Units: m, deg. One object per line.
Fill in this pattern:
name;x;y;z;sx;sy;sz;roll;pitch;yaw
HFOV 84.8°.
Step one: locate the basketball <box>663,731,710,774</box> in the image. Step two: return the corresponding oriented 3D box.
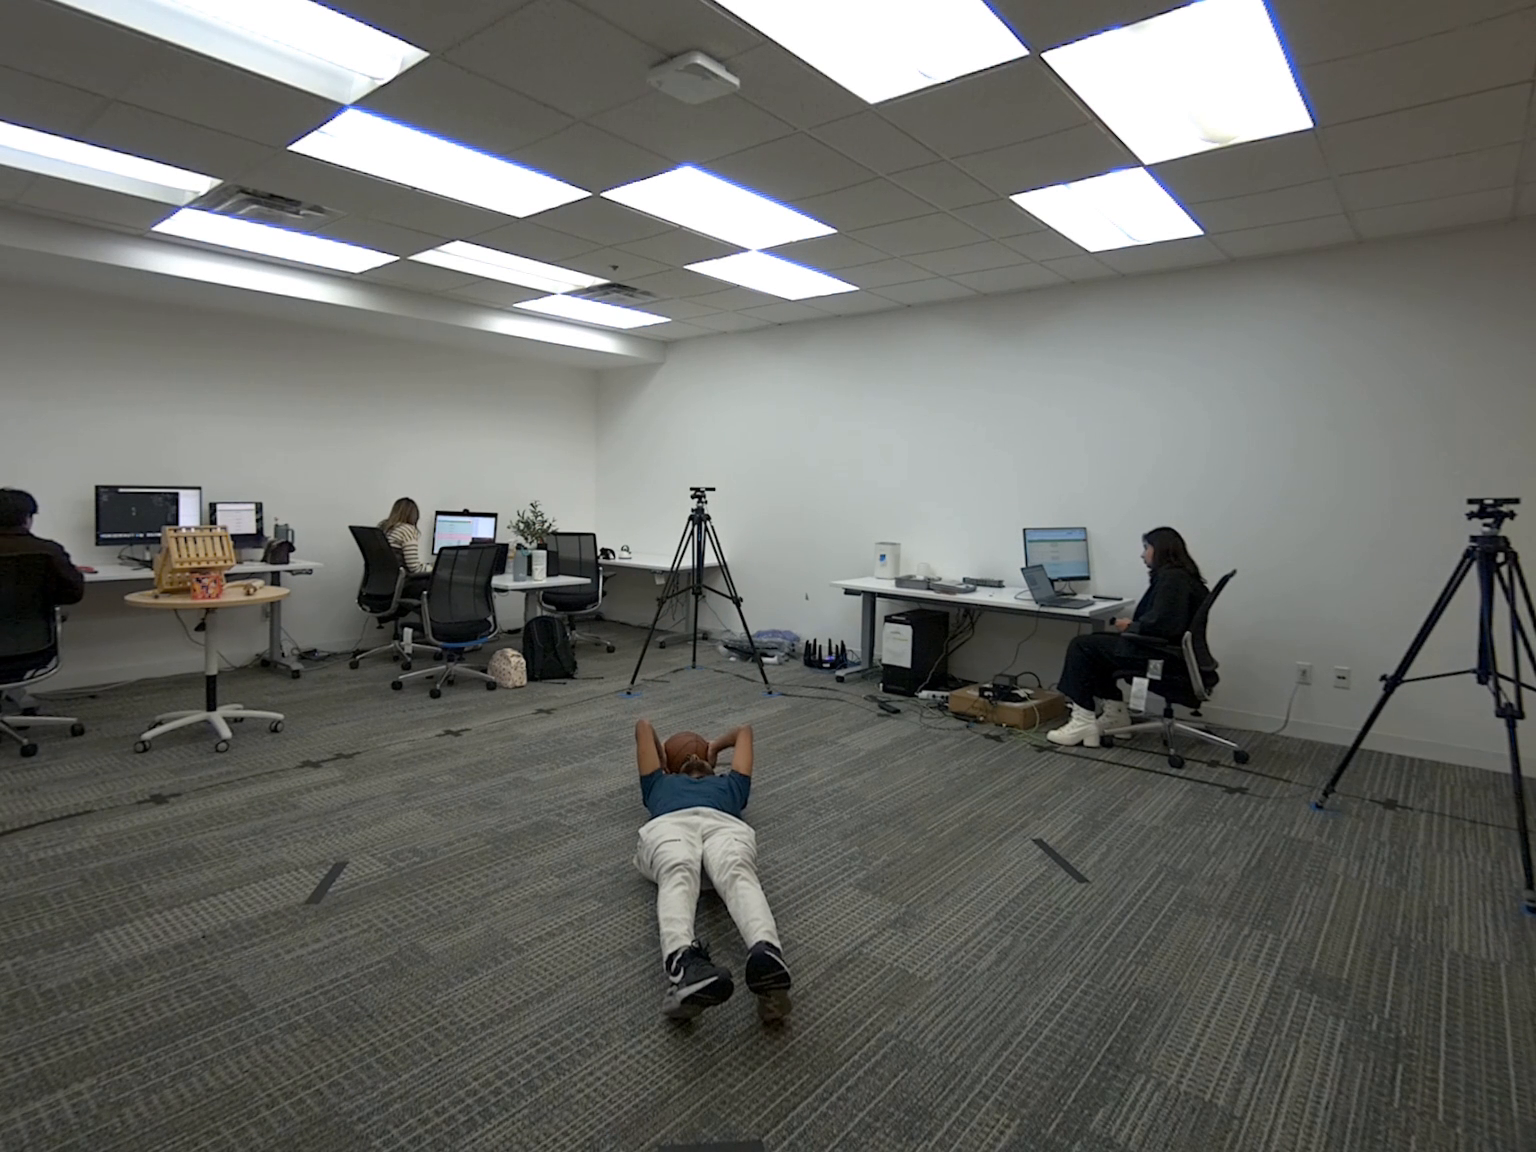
basketball;-0.400;0.855;4.030;0.235;0.235;0.237;1;4;-2
